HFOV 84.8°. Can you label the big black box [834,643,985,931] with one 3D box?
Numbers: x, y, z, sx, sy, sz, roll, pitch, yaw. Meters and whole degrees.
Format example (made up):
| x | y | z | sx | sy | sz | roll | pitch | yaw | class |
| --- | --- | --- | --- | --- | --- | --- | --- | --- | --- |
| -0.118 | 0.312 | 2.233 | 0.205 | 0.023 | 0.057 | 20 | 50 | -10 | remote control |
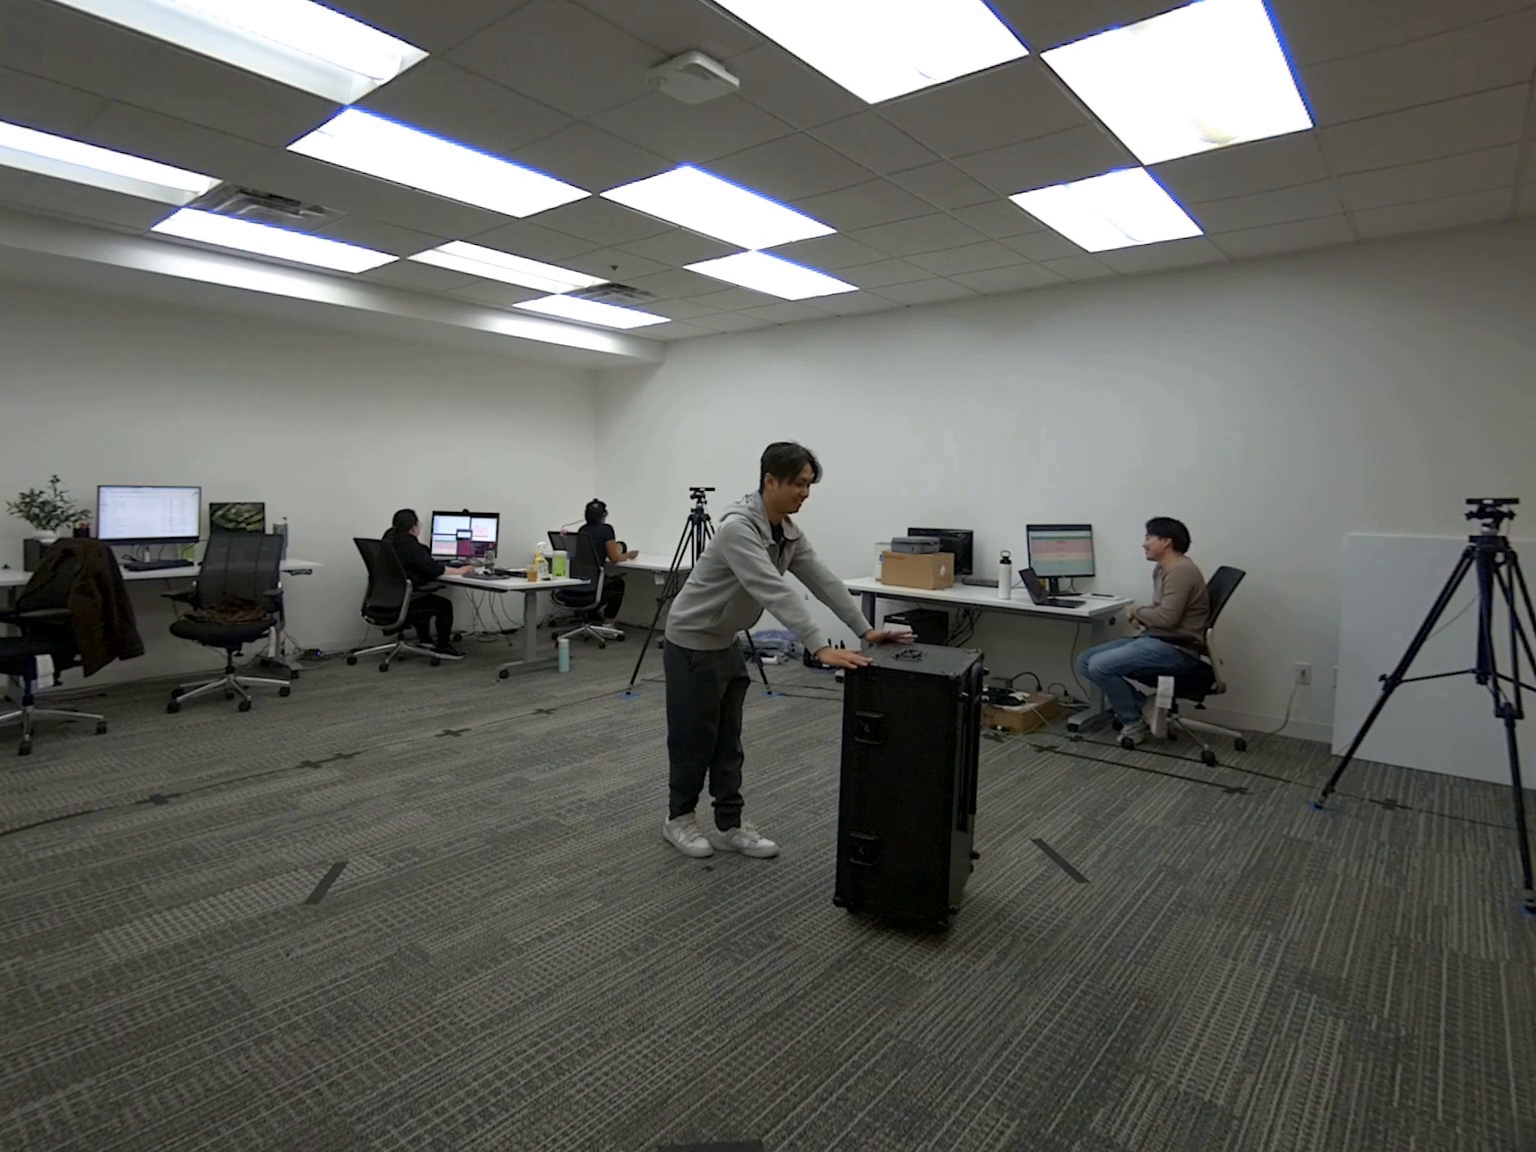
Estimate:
| x | y | z | sx | sy | sz | roll | pitch | yaw | class |
| --- | --- | --- | --- | --- | --- | --- | --- | --- | --- |
| 0.478 | 0.682 | 2.830 | 0.406 | 0.858 | 0.510 | 4 | 4 | 24 | big black box |
